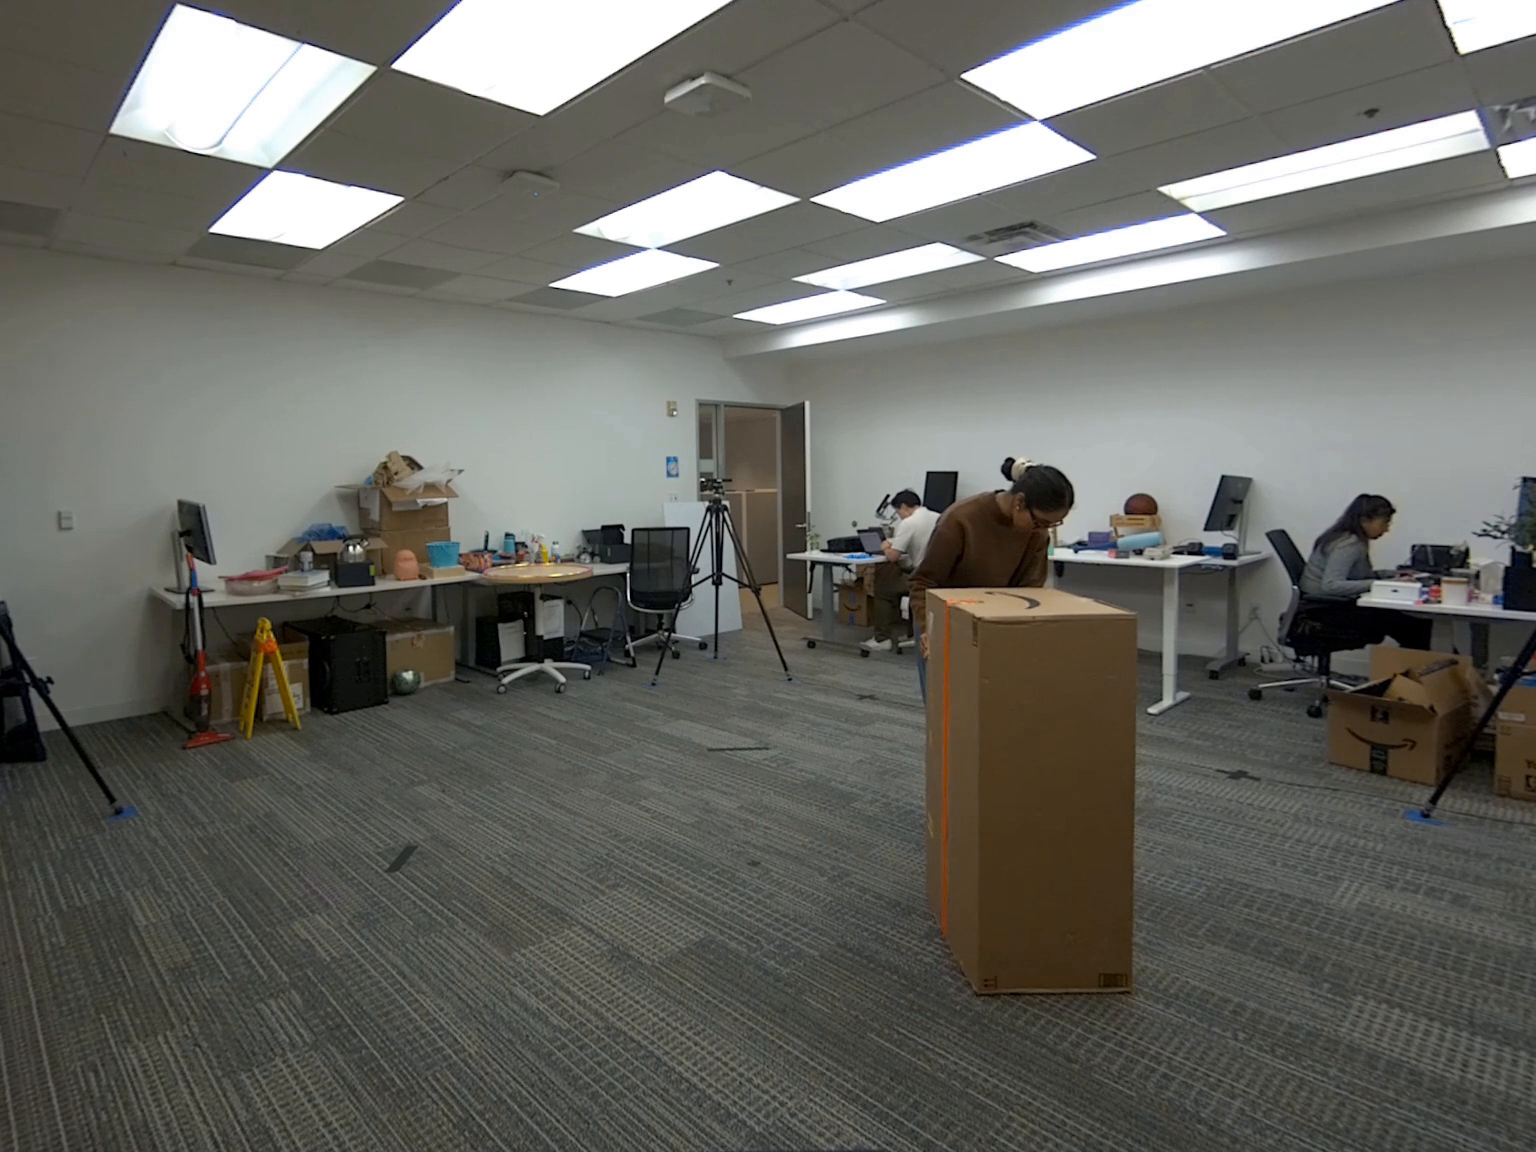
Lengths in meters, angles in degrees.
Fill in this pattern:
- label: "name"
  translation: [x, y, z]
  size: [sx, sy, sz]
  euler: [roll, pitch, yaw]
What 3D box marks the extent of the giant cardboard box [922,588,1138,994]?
- label: "giant cardboard box"
  translation: [0.739, 0.584, 2.537]
  size: [0.426, 1.022, 0.580]
  euler: [-1, 4, -1]
